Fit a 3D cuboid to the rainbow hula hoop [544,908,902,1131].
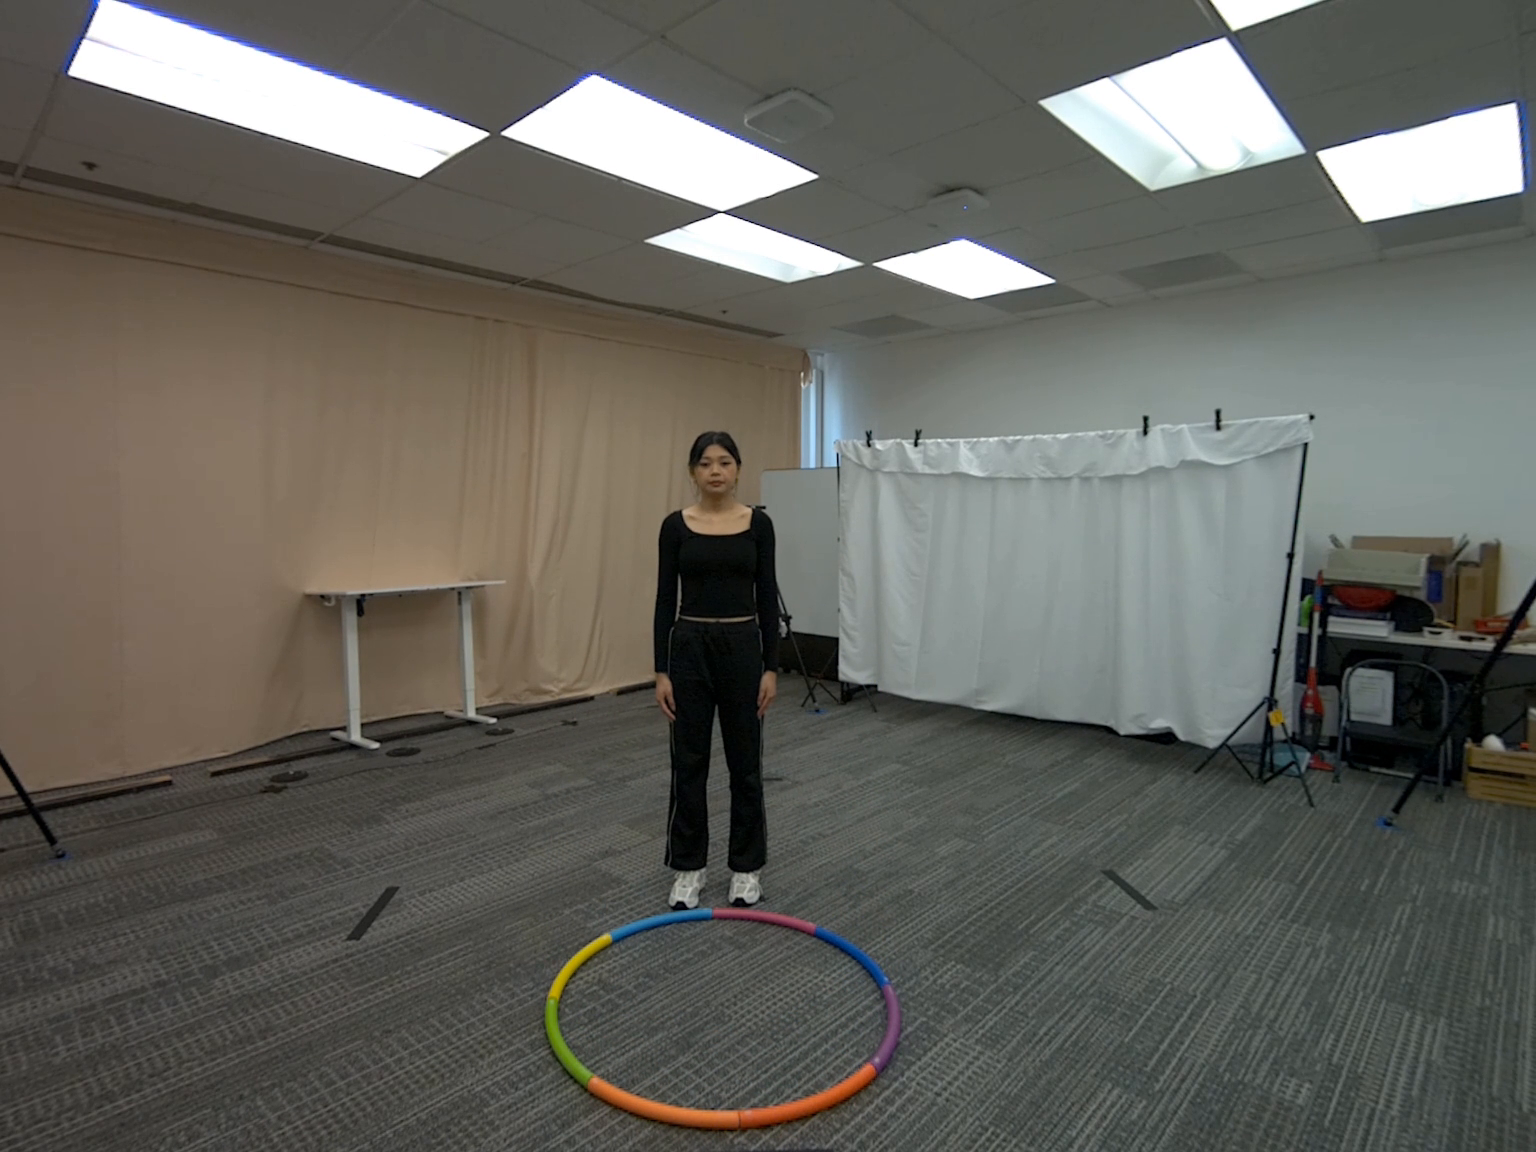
[{"bbox_3d":[-0.124,1.171,2.364,0.978,0.035,0.982,0,4,-2],"label":"rainbow hula hoop"}]
